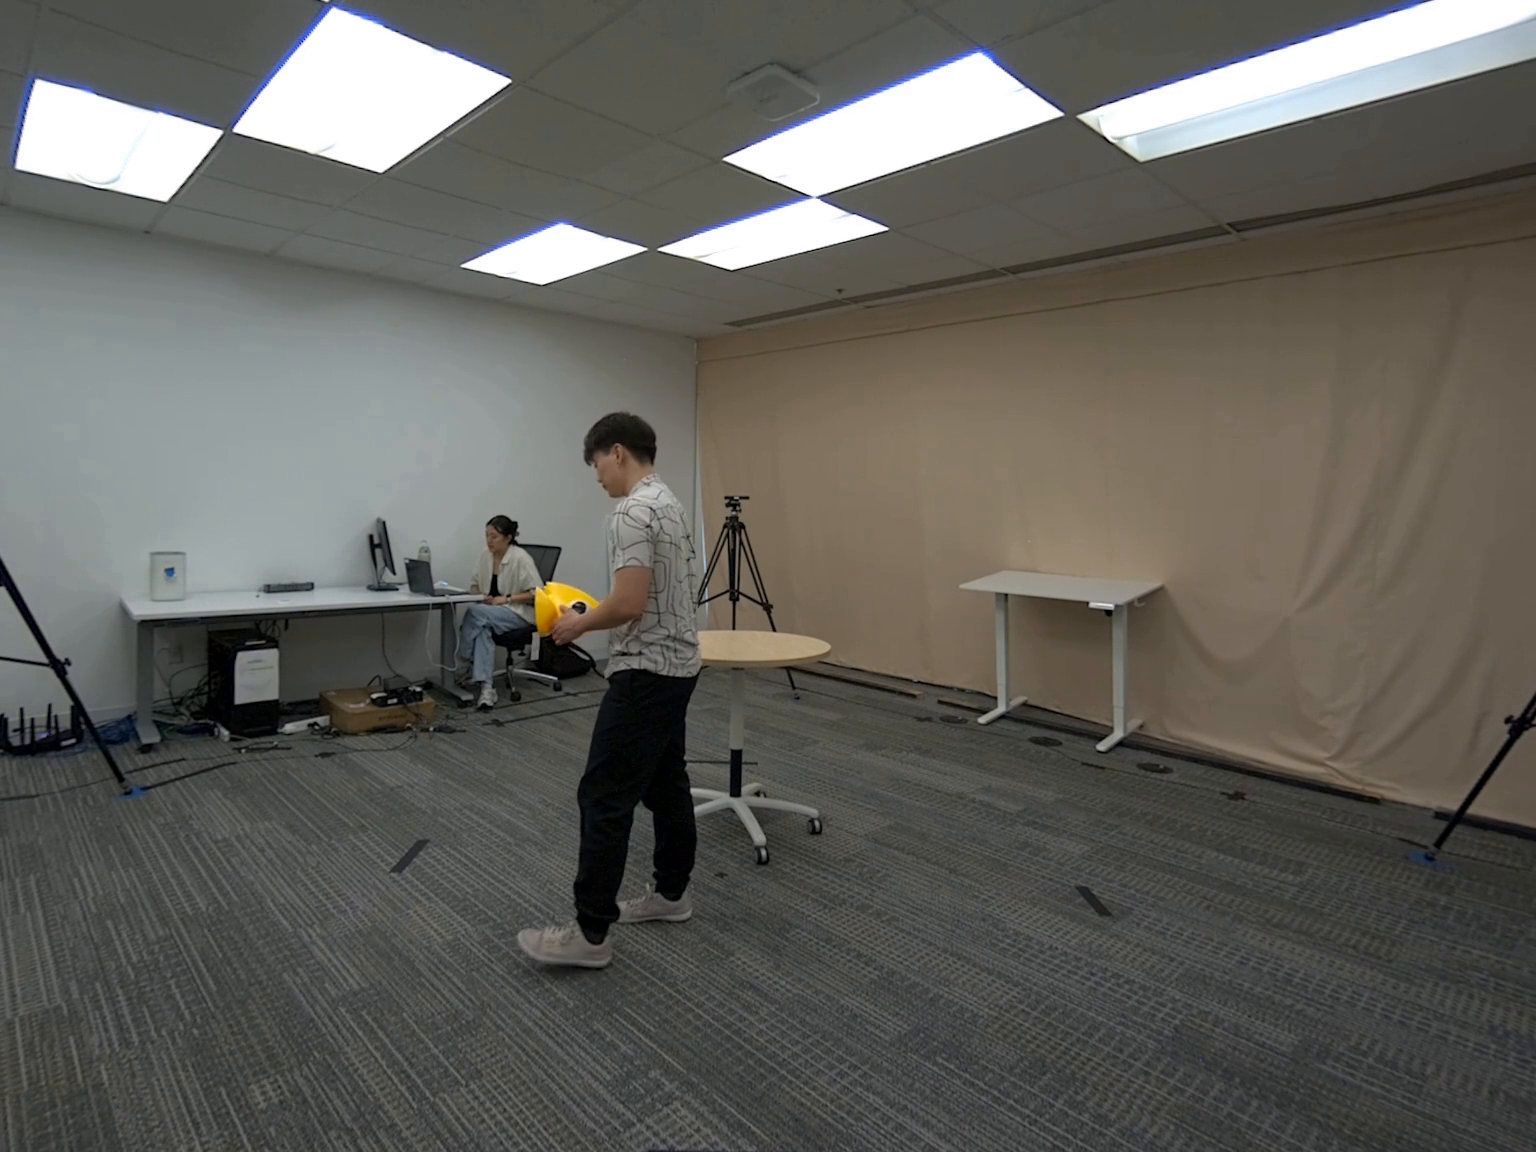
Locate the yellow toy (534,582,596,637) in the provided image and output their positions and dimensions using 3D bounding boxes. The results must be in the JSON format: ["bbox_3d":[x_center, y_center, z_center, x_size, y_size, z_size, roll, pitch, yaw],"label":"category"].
[{"bbox_3d":[-0.618,0.110,2.738,0.231,0.192,0.205,-4,5,2],"label":"yellow toy"}]
